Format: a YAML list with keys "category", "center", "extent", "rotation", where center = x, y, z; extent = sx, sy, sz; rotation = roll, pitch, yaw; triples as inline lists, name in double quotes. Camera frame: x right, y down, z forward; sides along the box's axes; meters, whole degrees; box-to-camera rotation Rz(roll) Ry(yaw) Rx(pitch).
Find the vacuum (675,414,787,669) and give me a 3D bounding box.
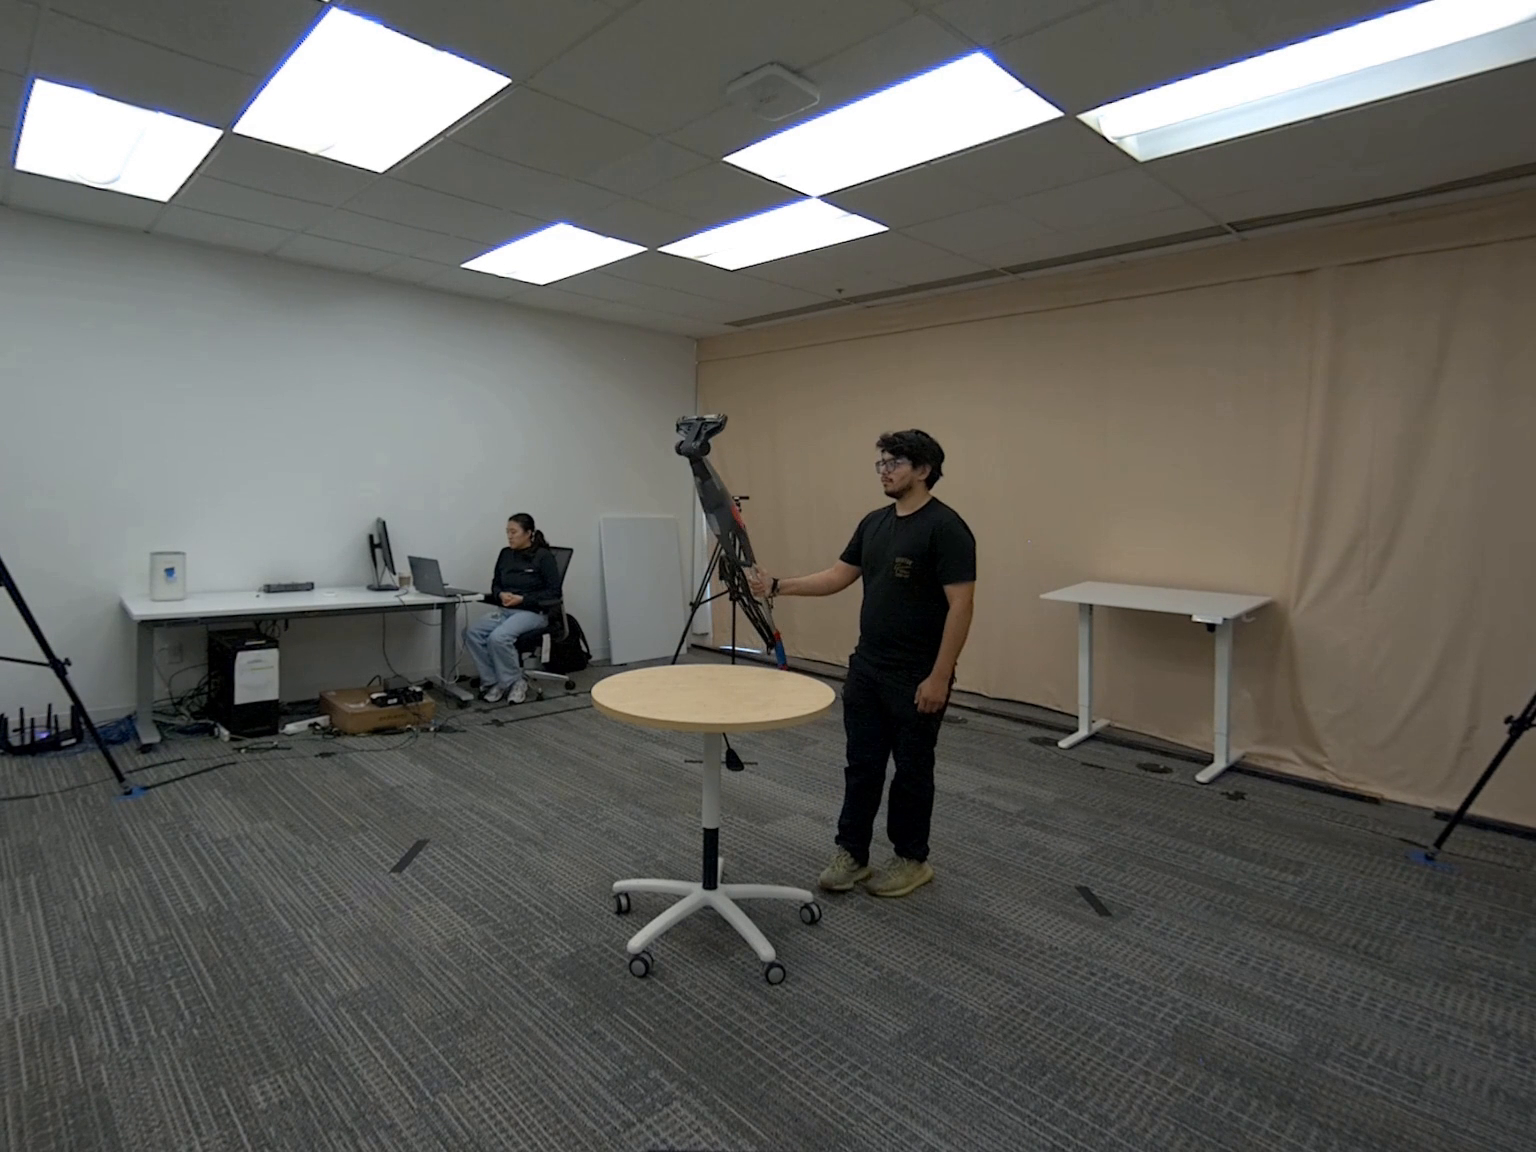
- category: "vacuum"
  center: [-0.107, -0.039, 3.034]
  extent: [0.143, 1.031, 0.259]
  rotation: [-30, 24, -33]
